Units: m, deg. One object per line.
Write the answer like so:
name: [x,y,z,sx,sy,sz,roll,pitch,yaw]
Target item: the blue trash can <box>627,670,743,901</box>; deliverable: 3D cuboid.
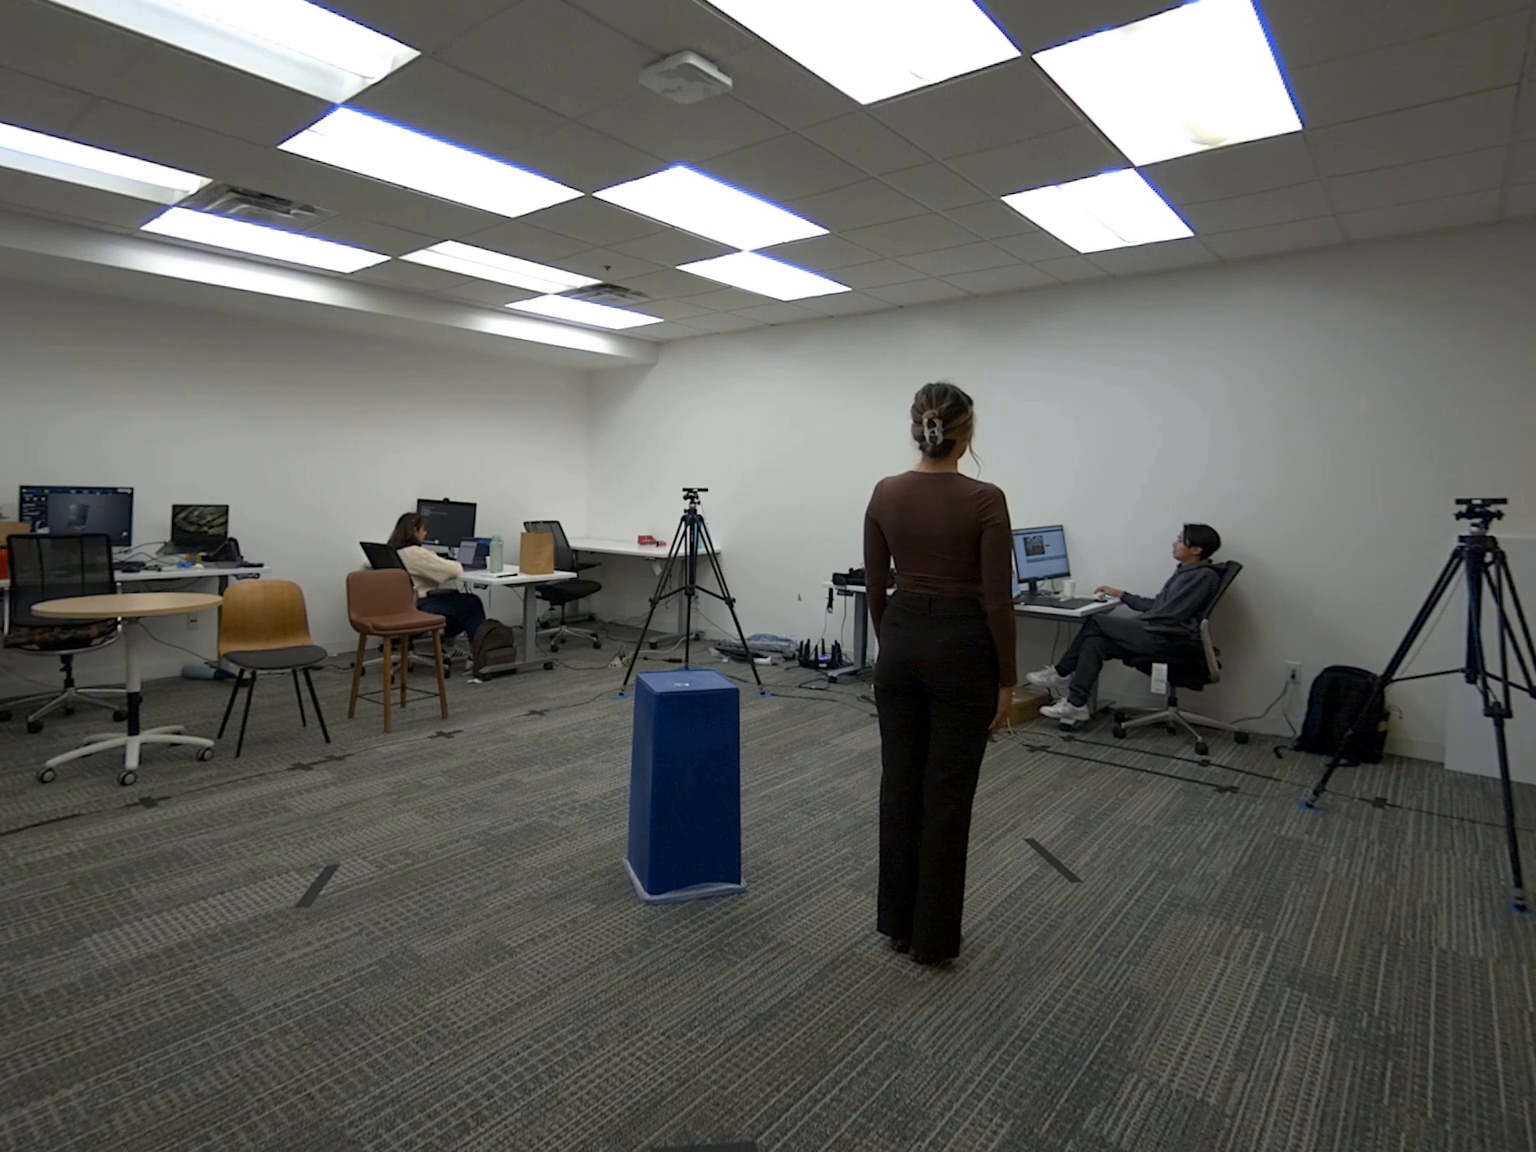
blue trash can: [-0.309,0.721,3.025,0.370,0.711,0.383,0,4,-21]
